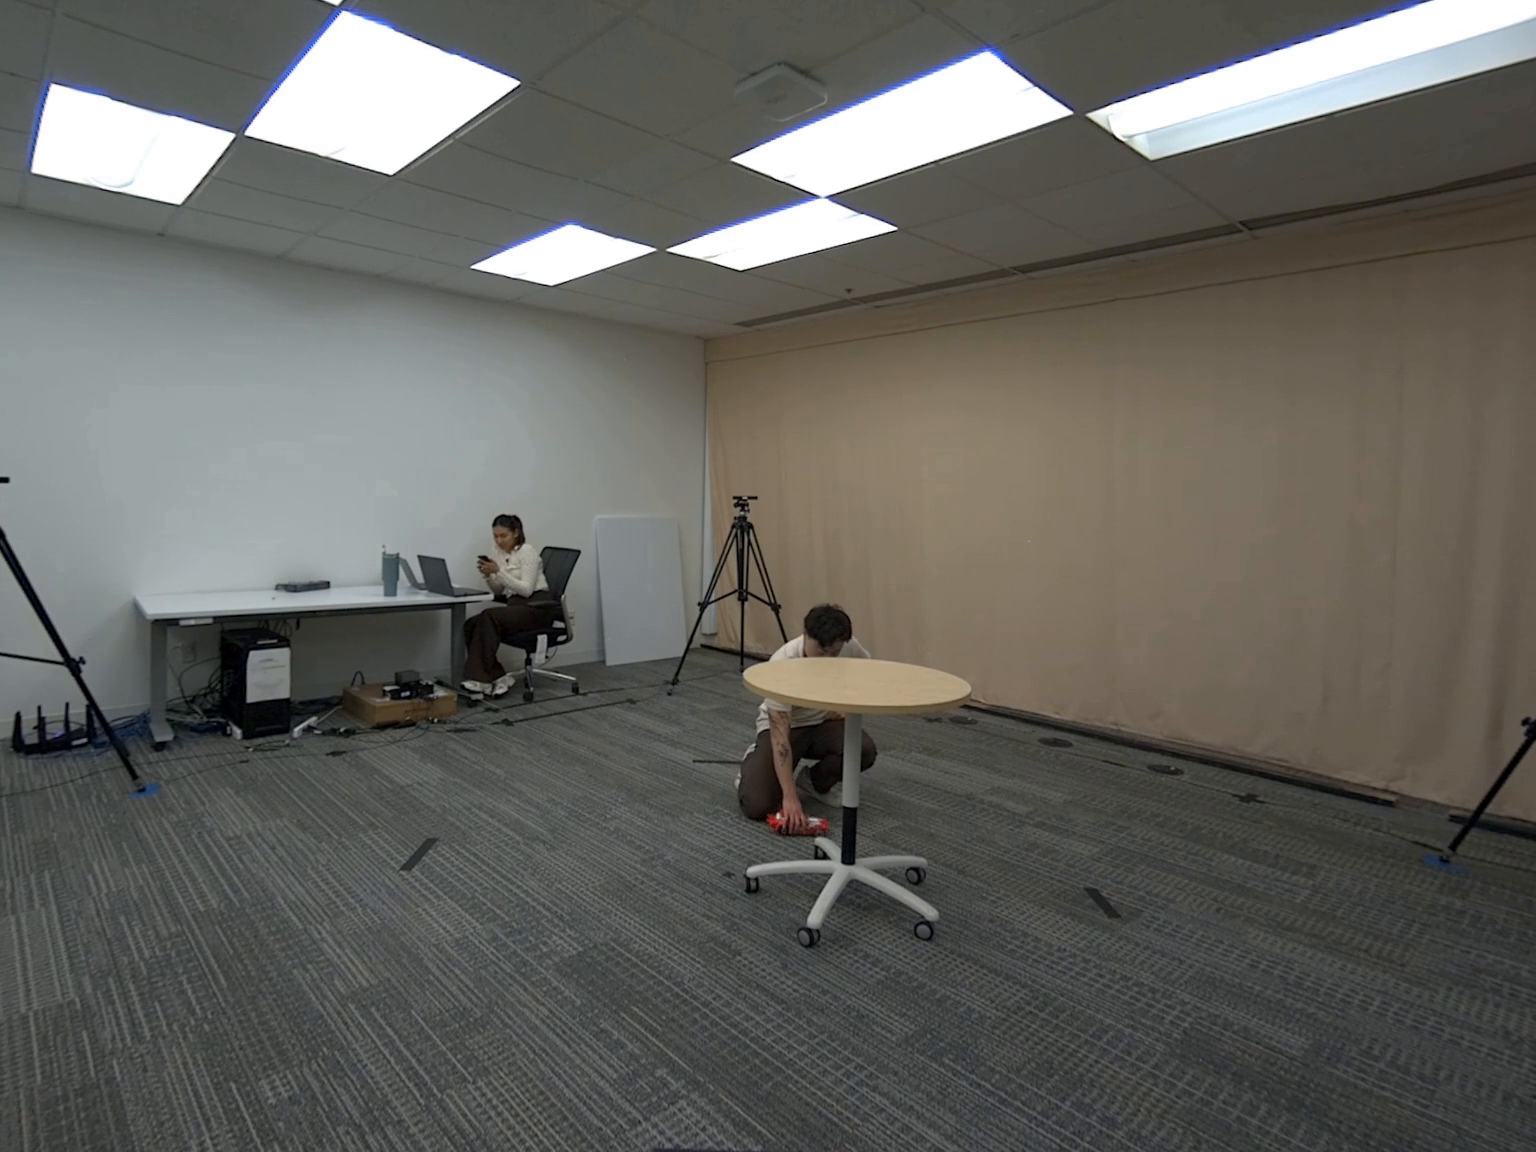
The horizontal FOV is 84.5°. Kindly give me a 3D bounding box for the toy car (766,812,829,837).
[{"bbox_3d":[0.107,1.047,3.536,0.255,0.083,0.130,12,6,4],"label":"toy car"}]
